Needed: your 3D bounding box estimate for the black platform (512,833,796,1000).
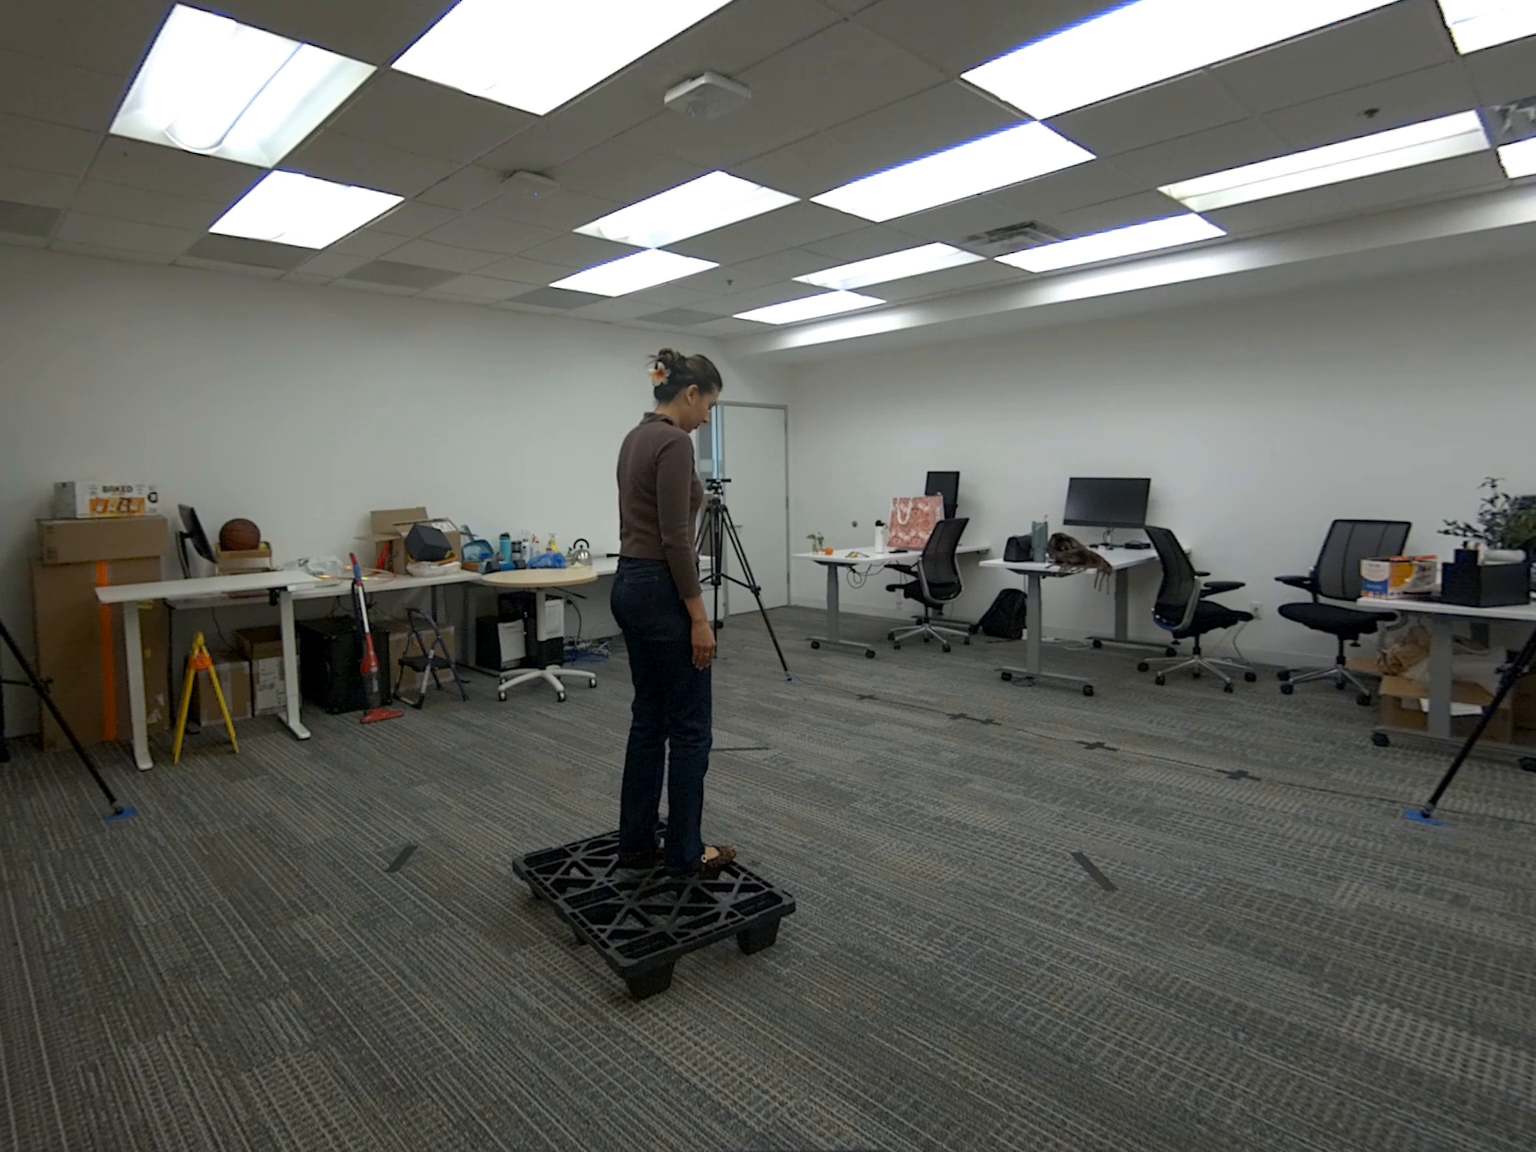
[{"bbox_3d":[-0.386,1.029,2.733,0.590,0.142,0.830,-5,8,-36],"label":"black platform"}]
